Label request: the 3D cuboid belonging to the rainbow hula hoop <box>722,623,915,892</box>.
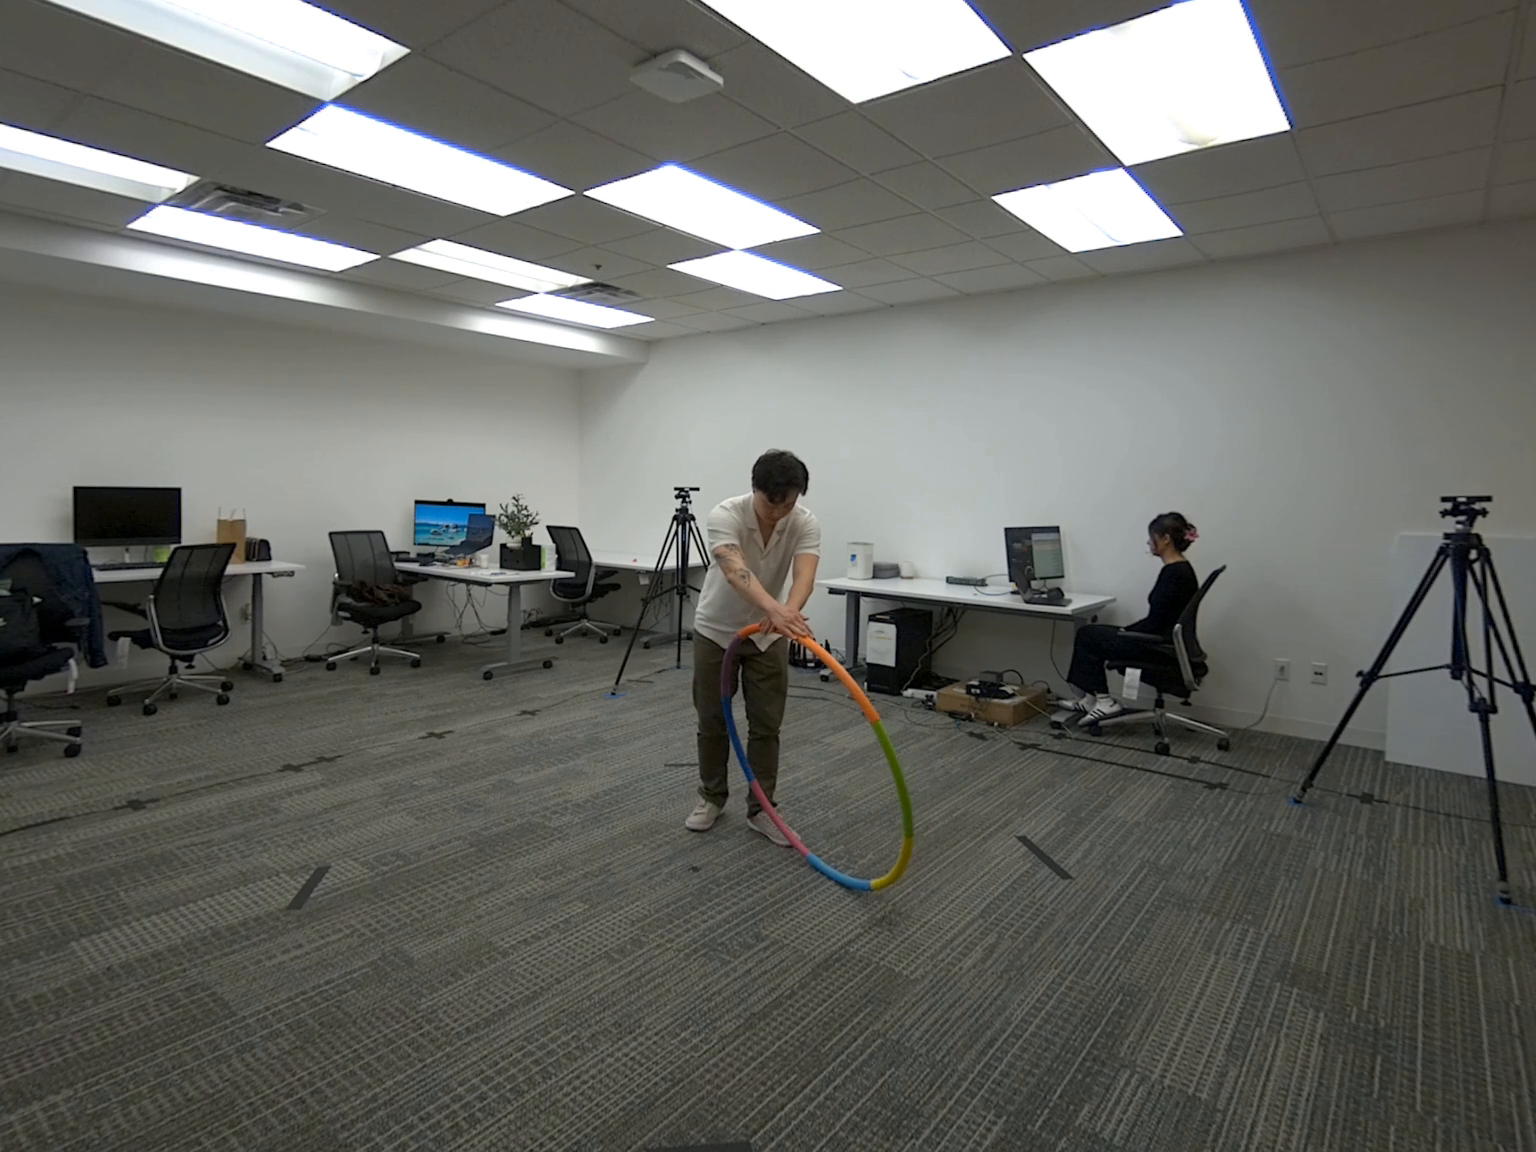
[{"bbox_3d":[0.122,0.620,2.955,0.035,0.964,1.010,-21,15,-31],"label":"rainbow hula hoop"}]
